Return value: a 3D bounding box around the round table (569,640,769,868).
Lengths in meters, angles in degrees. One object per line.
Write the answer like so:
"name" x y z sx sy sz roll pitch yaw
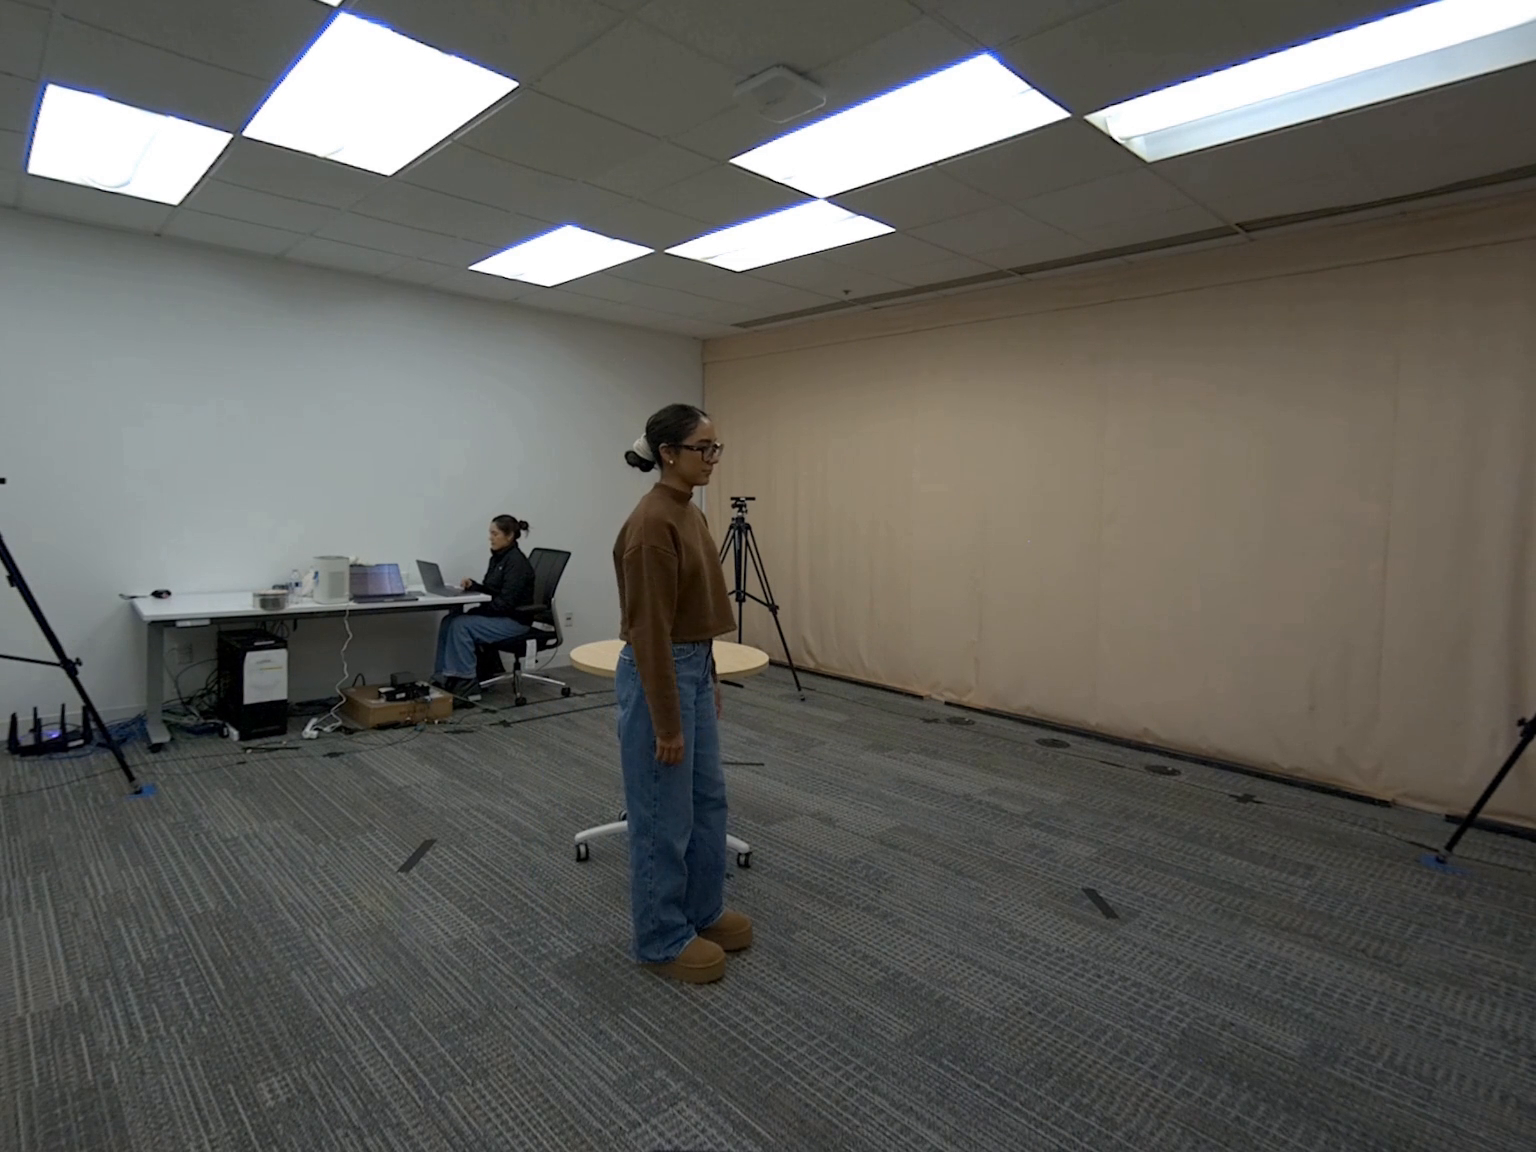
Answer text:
"round table" -0.401 0.700 3.279 0.763 0.792 0.766 2 4 -1
